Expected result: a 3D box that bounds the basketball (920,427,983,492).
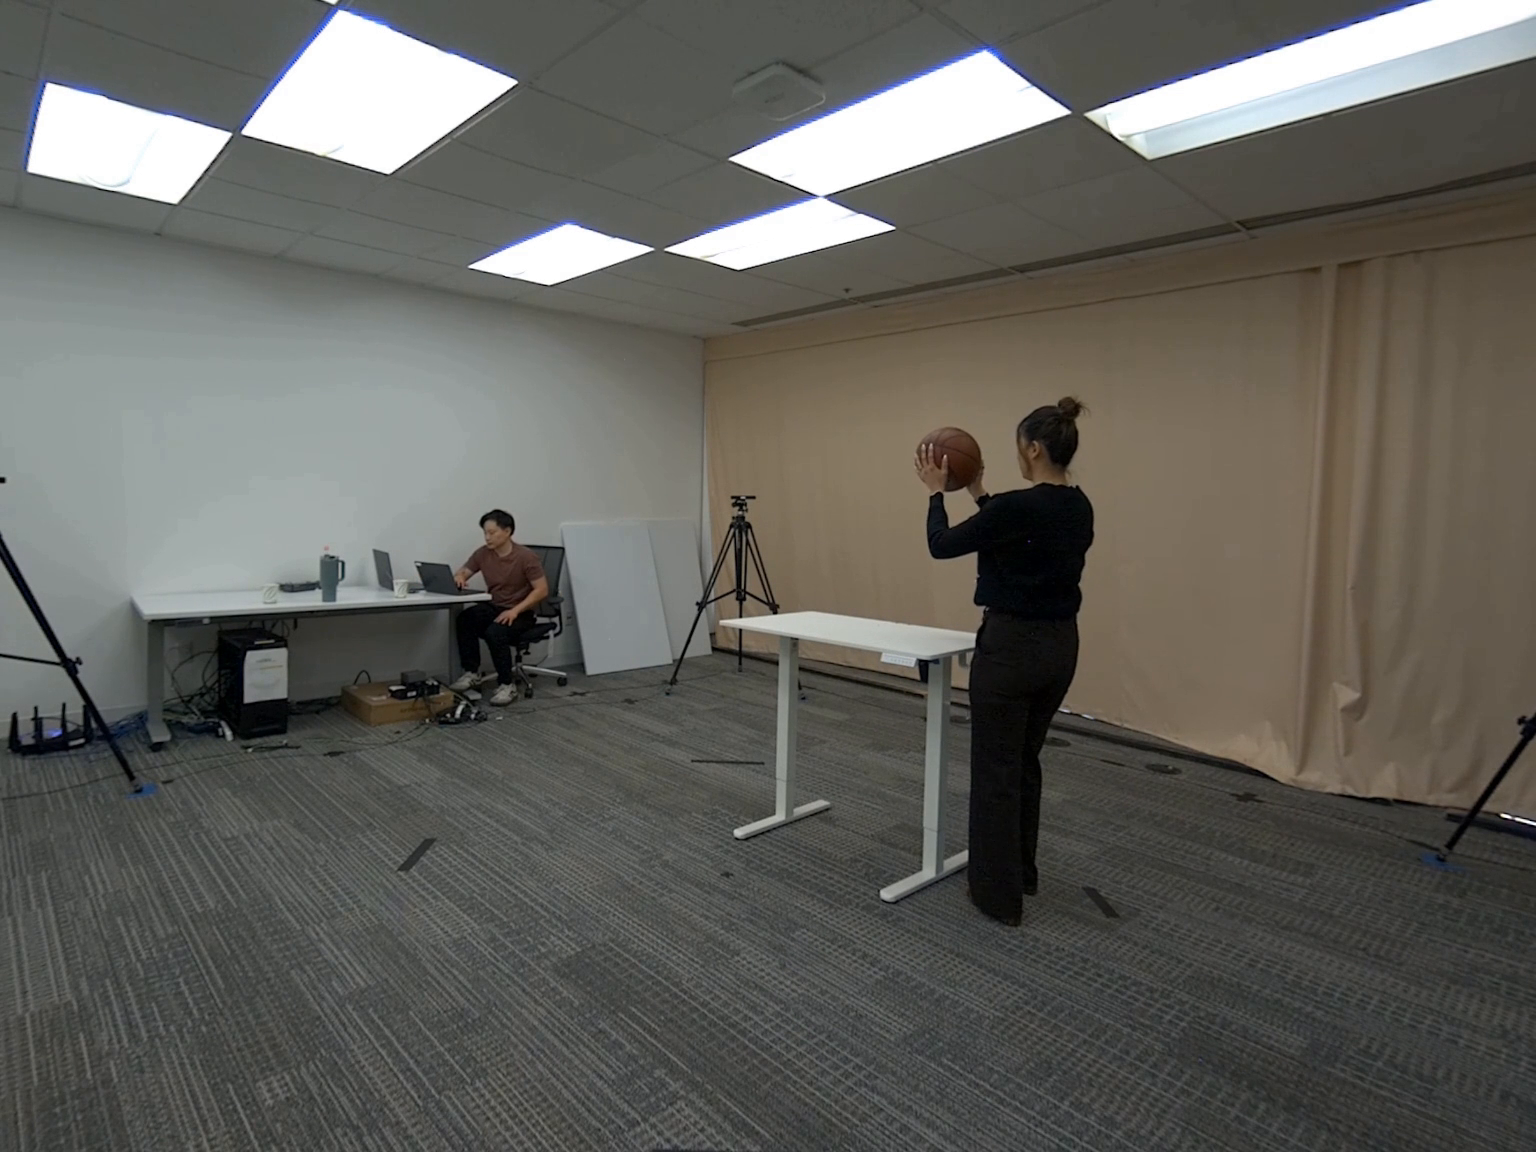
[{"bbox_3d":[0.659,-0.430,3.087,0.236,0.235,0.237,1,4,-1],"label":"basketball"}]
